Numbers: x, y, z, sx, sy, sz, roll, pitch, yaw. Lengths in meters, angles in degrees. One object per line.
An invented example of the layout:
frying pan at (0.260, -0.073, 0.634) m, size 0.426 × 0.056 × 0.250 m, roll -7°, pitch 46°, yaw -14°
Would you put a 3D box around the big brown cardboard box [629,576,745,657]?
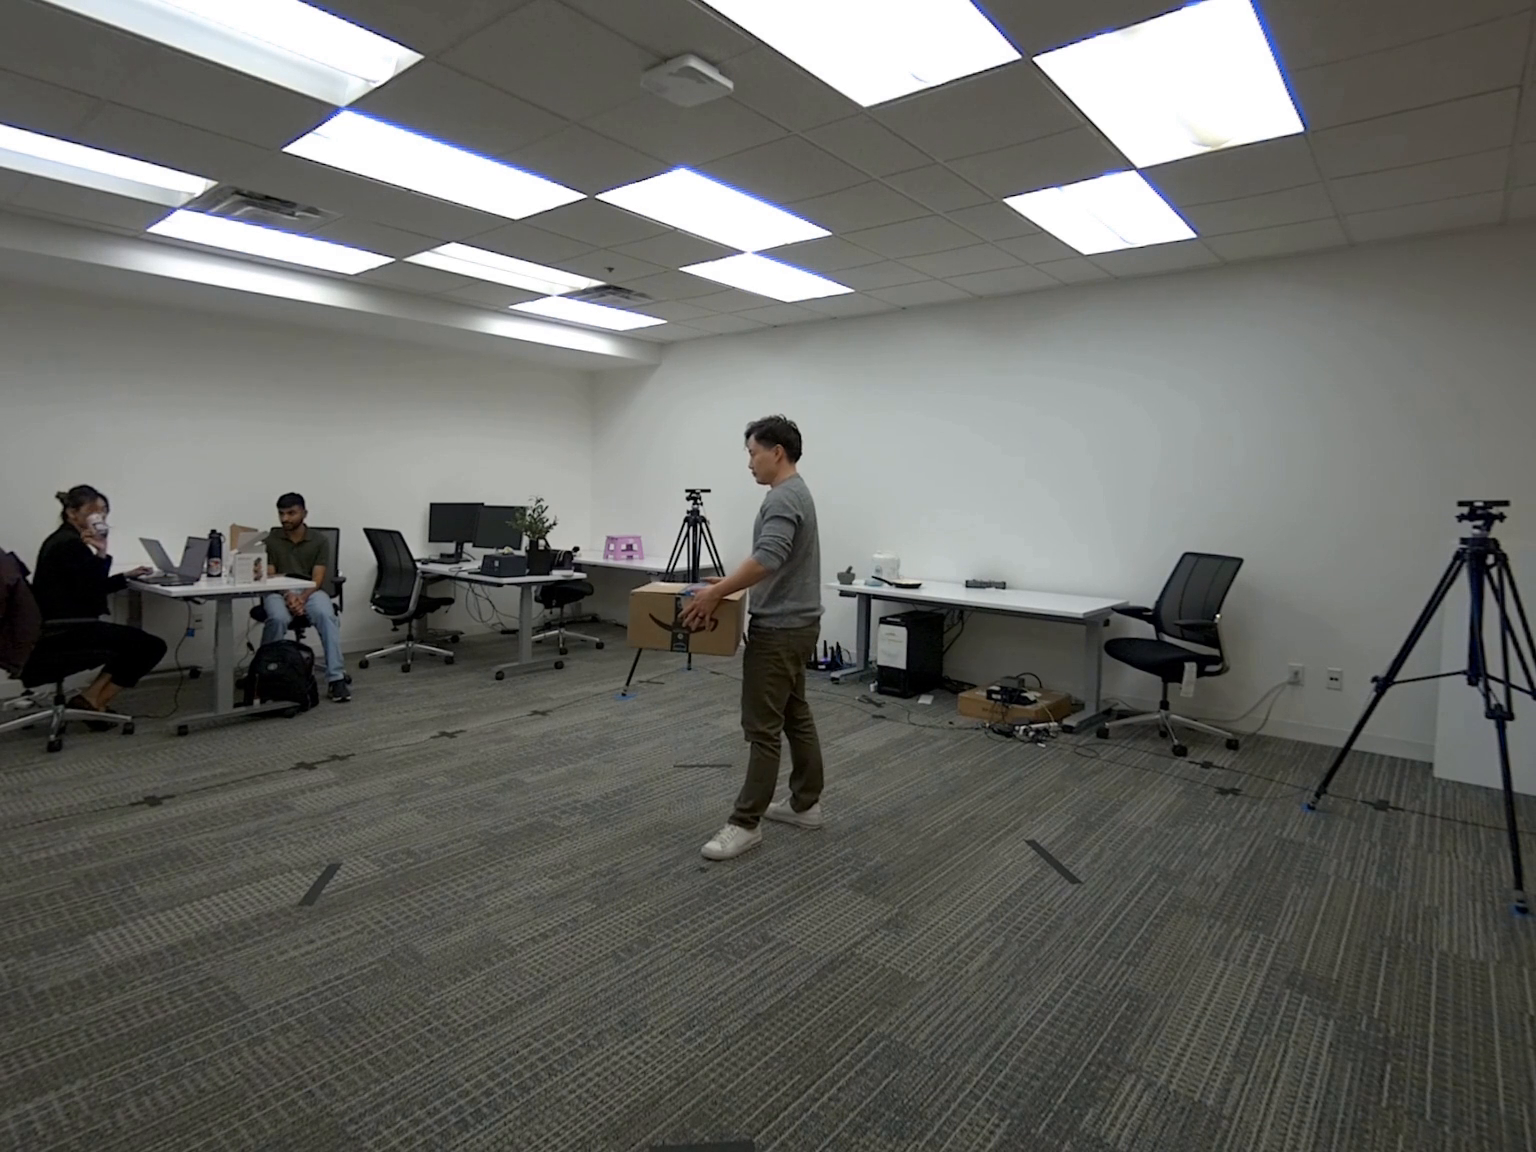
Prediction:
big brown cardboard box at (-0.318, 0.152, 3.494) m, size 0.418 × 0.233 × 0.589 m, roll 4°, pitch 3°, yaw 0°
